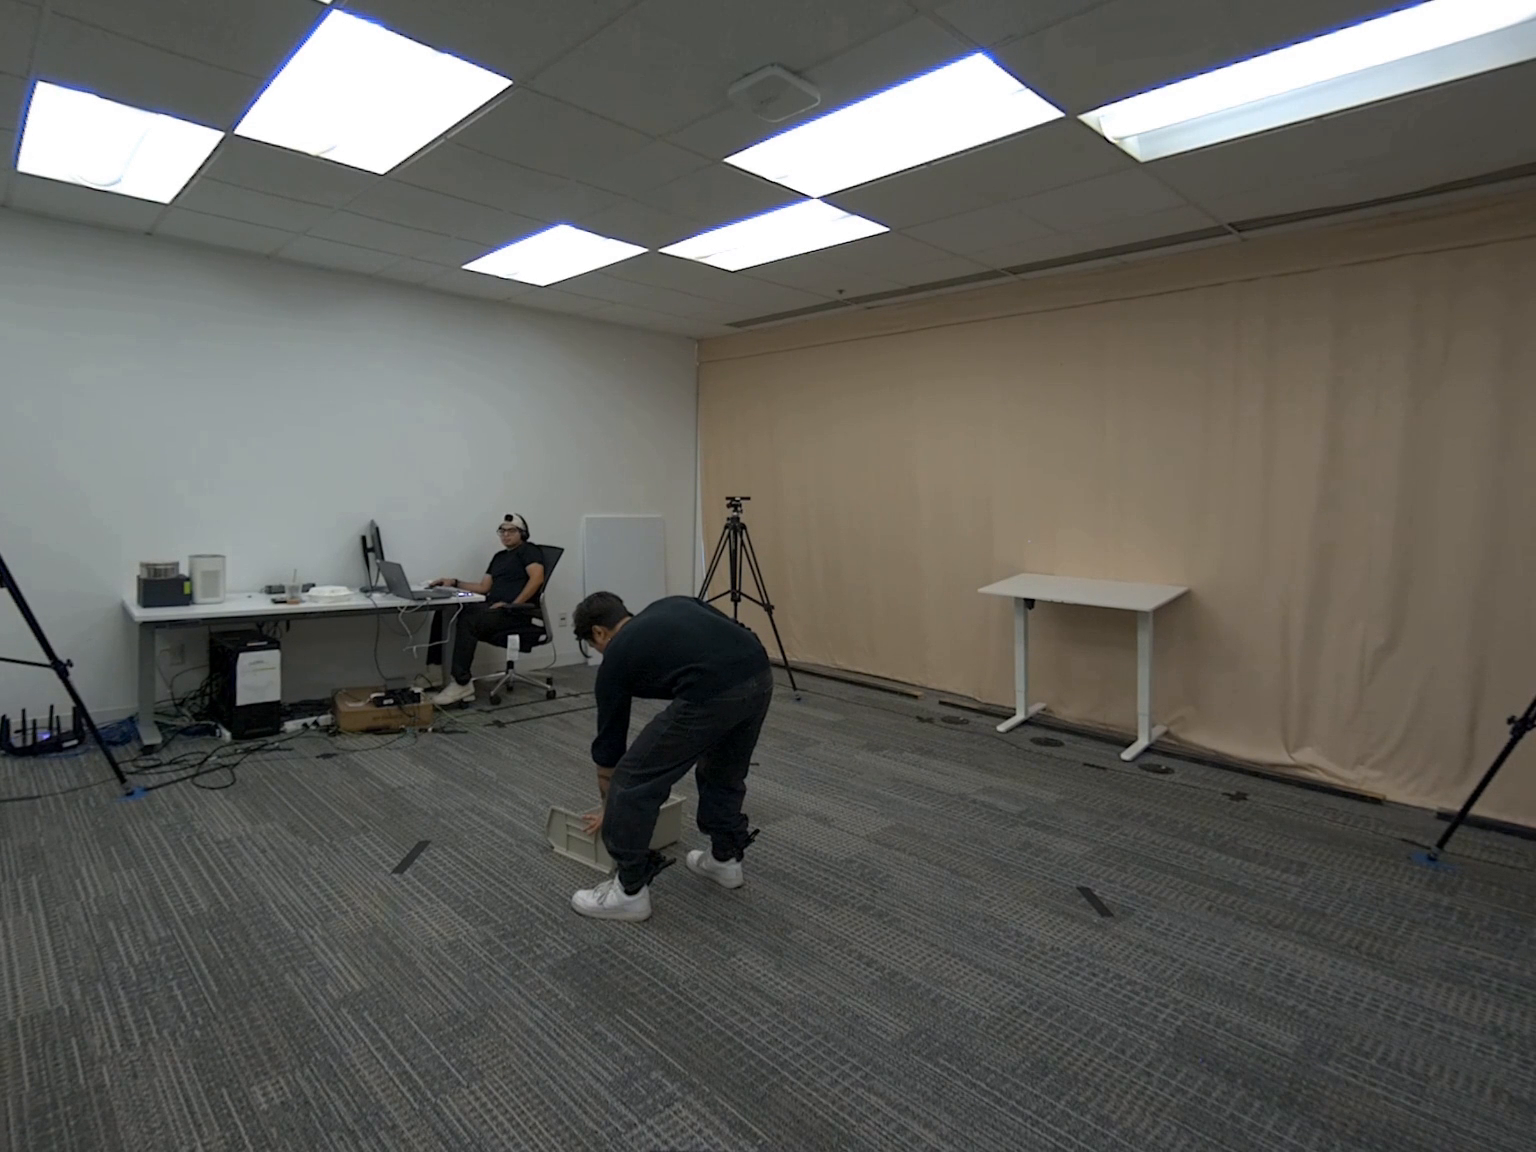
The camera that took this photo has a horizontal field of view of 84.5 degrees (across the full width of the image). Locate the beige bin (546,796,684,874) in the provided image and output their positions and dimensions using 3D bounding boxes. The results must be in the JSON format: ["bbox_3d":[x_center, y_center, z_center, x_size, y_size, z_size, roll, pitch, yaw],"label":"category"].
[{"bbox_3d":[-0.613,0.987,3.363,0.387,0.188,0.413,6,6,37],"label":"beige bin"}]
